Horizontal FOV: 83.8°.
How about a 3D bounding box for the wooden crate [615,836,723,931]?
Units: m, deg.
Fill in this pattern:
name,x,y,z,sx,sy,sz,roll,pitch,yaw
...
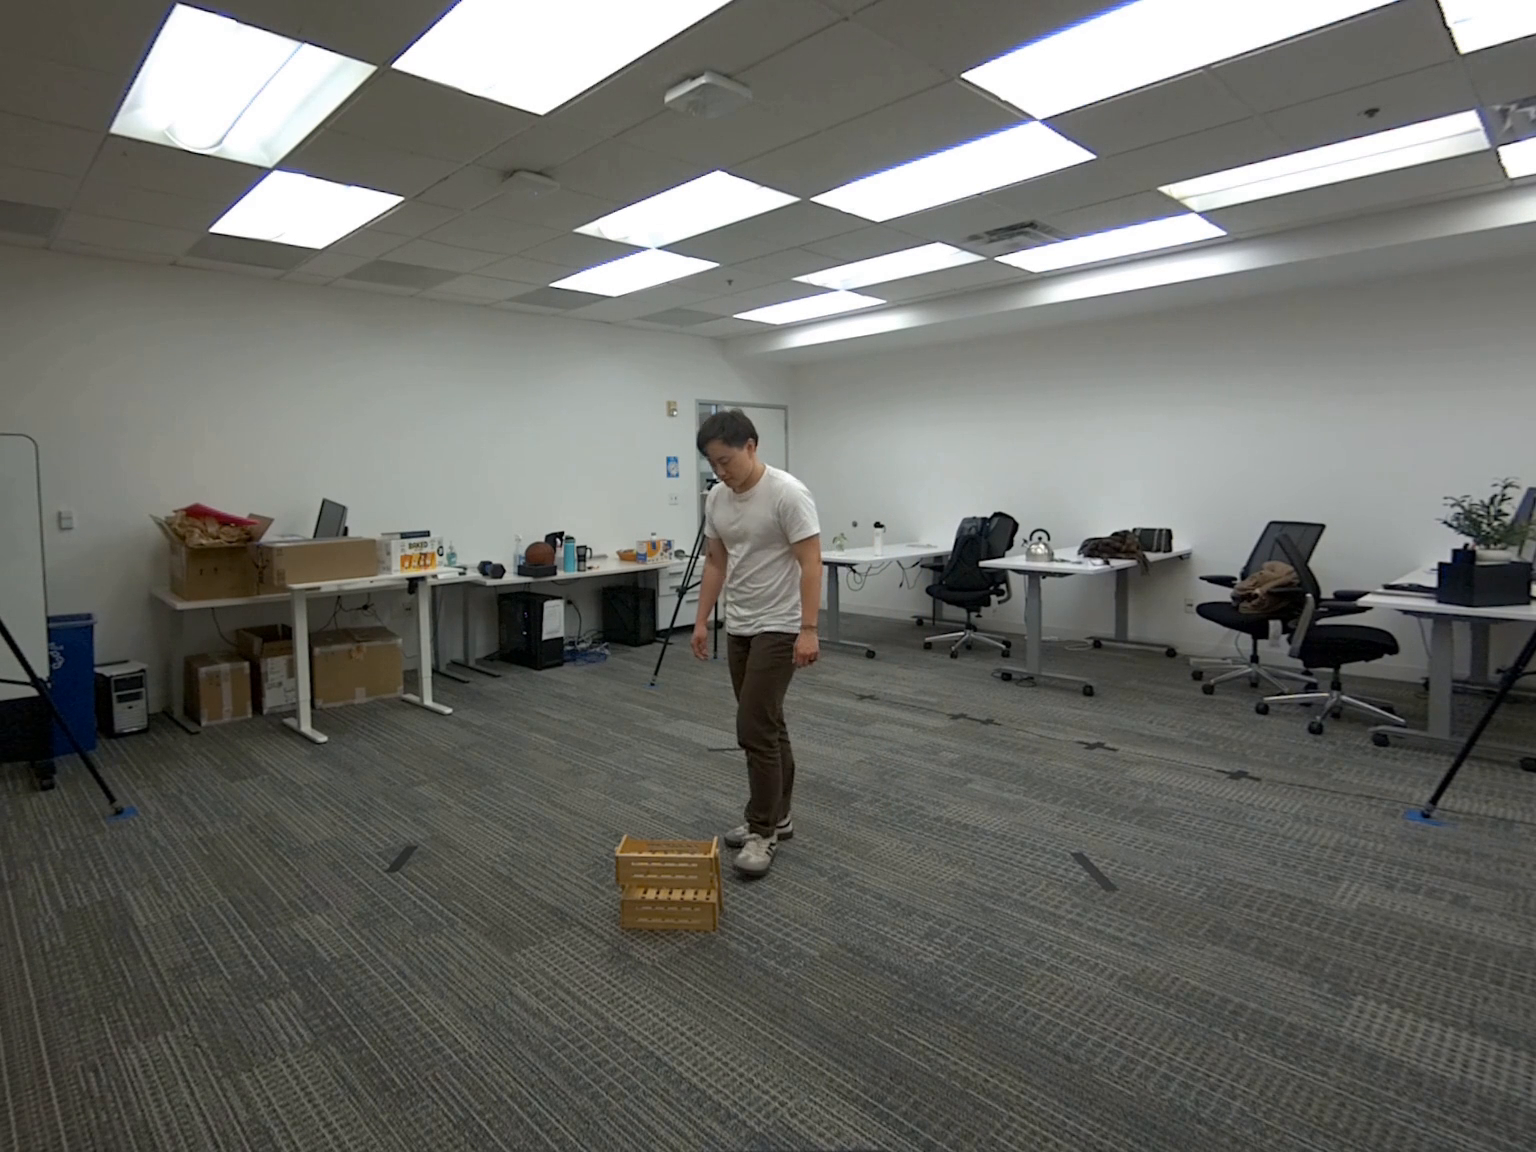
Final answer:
name,x,y,z,sx,sy,sz,roll,pitch,yaw
wooden crate,-0.307,0.956,2.752,0.326,0.272,0.302,-1,5,3
